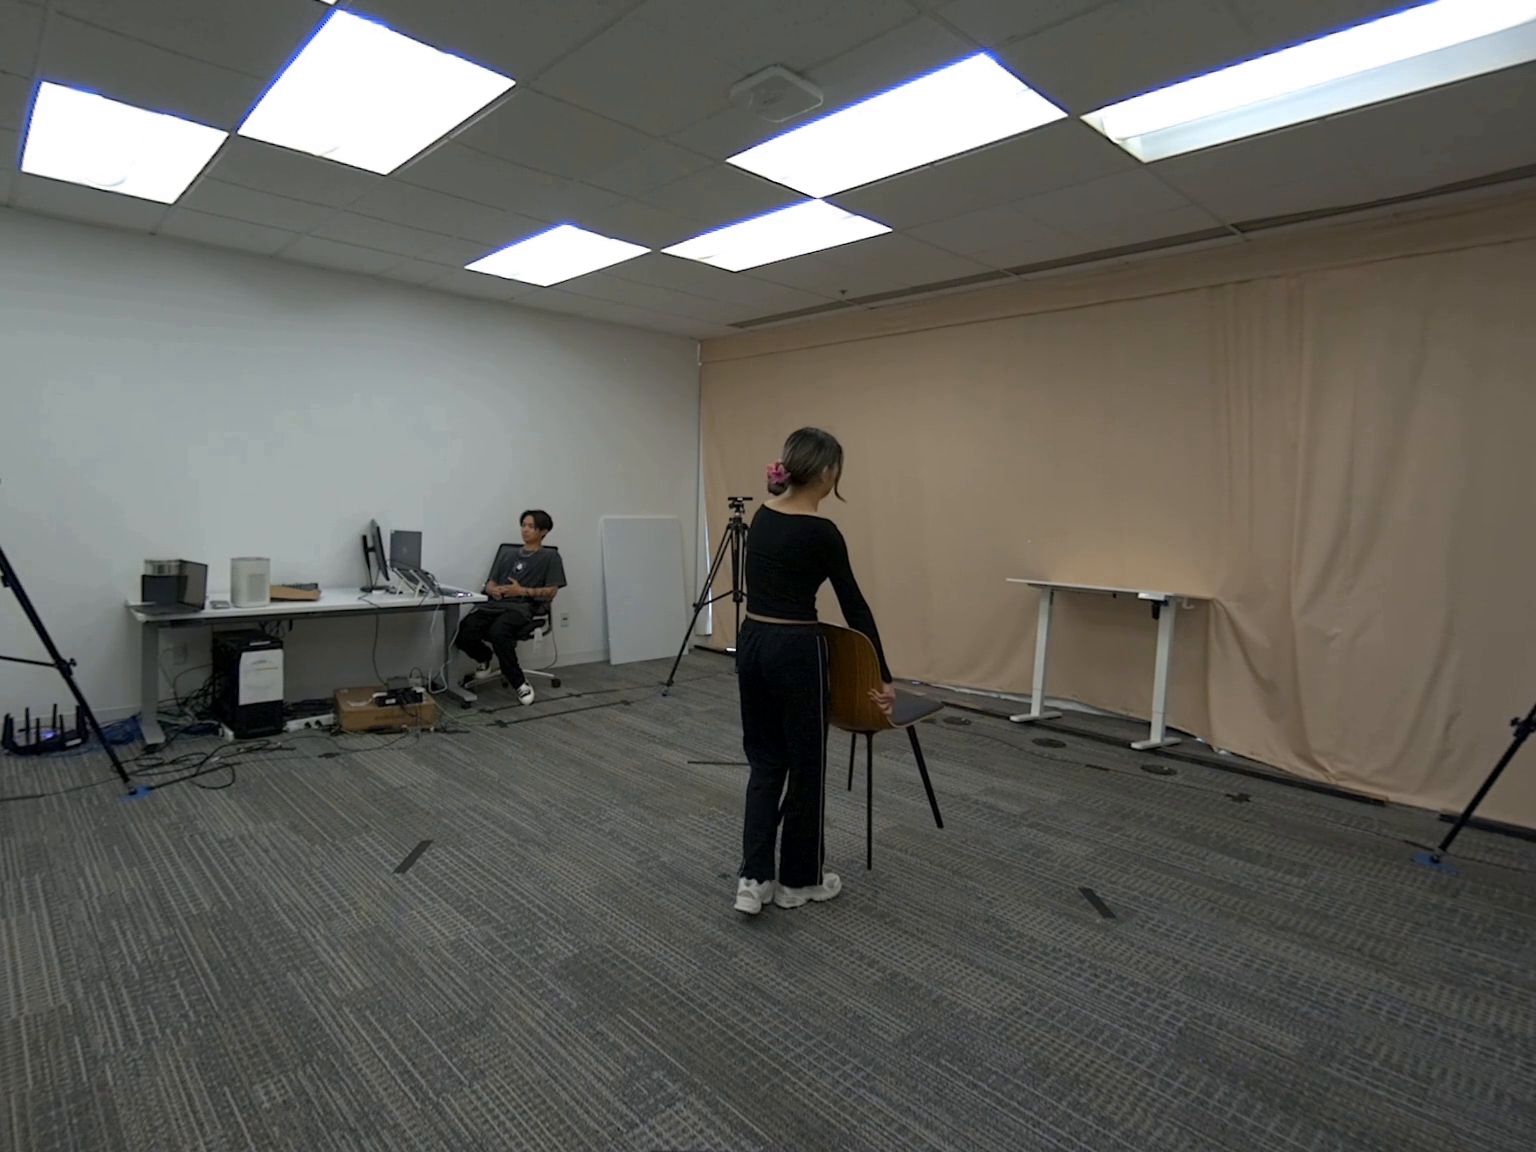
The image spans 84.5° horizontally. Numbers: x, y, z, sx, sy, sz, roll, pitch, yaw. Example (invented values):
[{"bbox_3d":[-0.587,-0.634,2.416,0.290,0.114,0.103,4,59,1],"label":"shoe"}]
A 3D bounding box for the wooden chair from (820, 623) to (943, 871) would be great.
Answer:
[{"bbox_3d":[0.343,0.525,3.108,0.514,0.870,0.491,-13,15,-43],"label":"wooden chair"}]
